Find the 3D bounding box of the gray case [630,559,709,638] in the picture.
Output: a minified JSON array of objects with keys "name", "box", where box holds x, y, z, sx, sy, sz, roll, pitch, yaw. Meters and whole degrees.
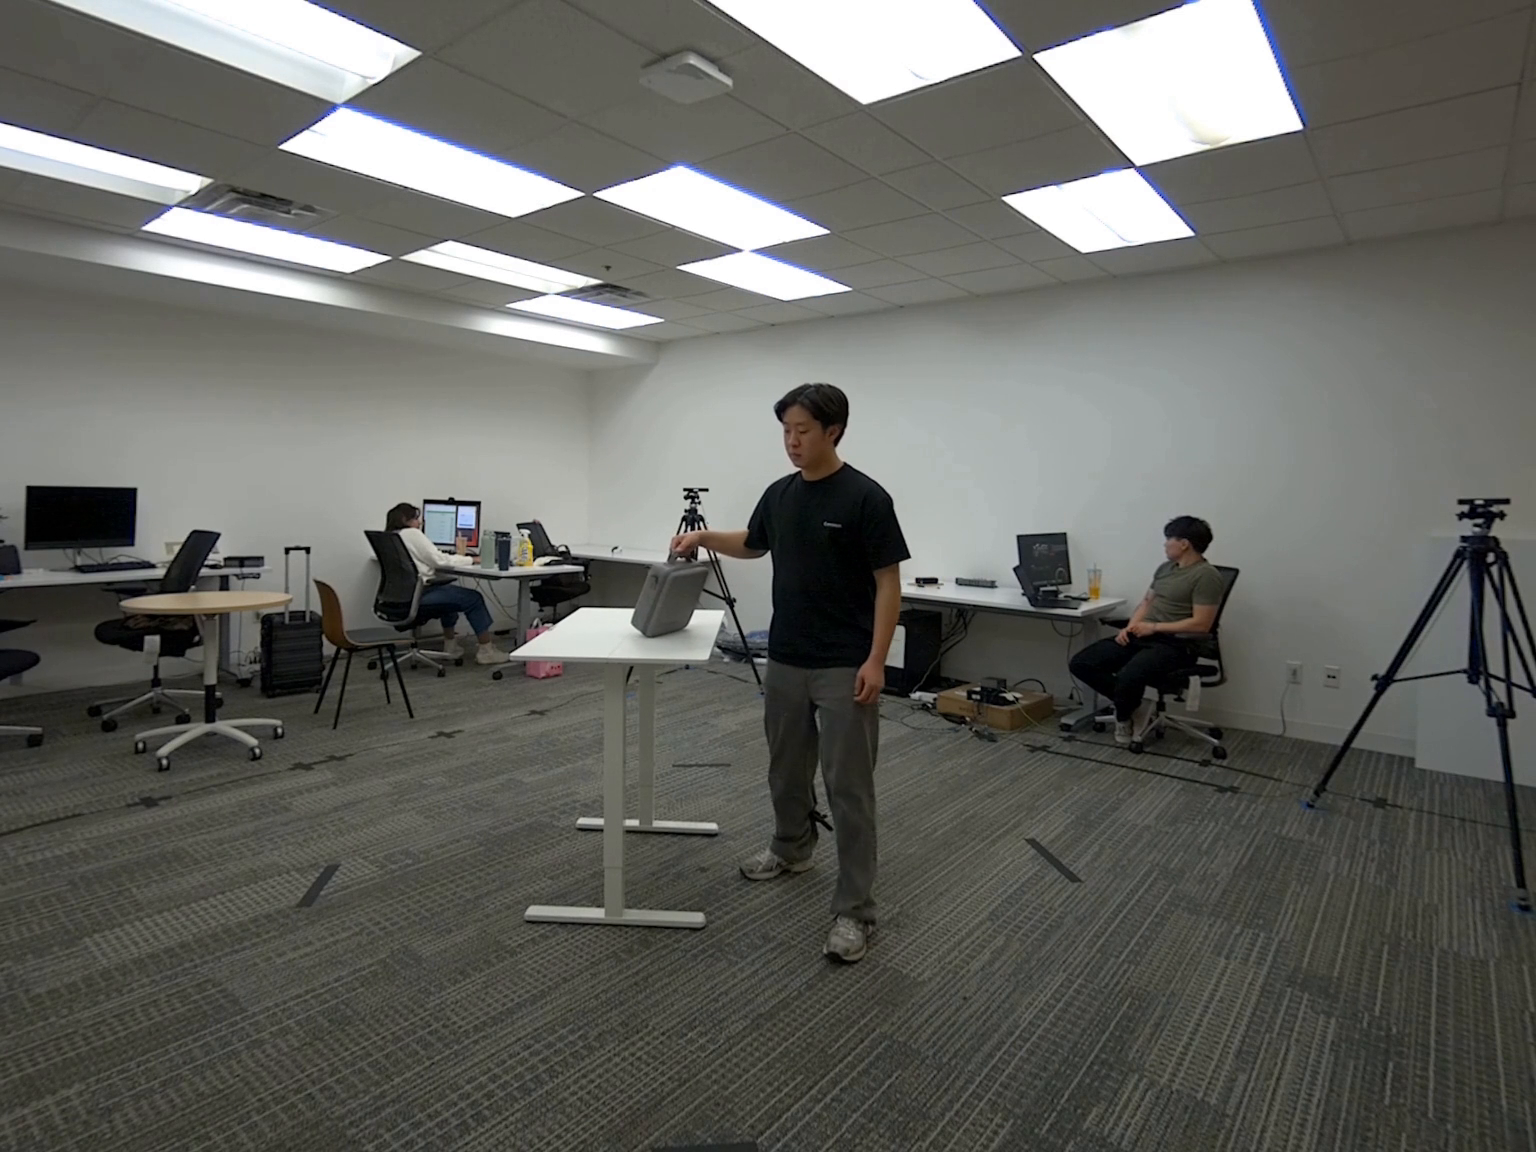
[{"name":"gray case","box":[-0.345,0.061,2.951,0.106,0.285,0.257,25,15,22]}]
